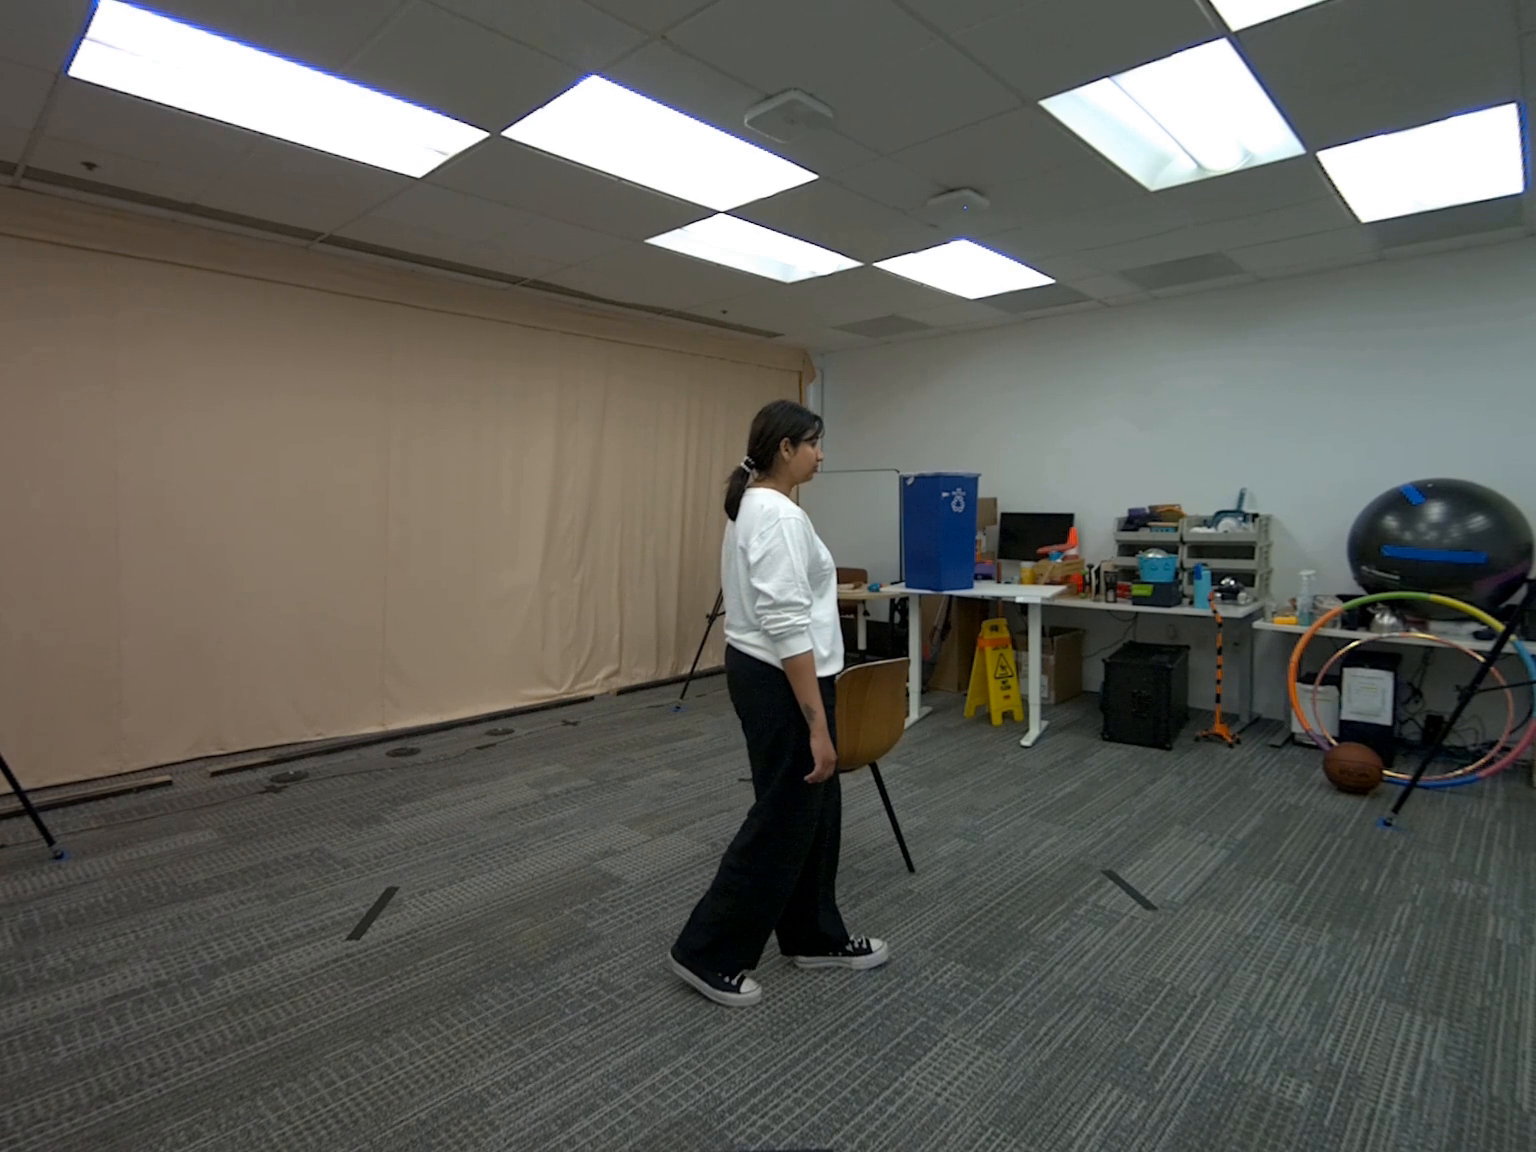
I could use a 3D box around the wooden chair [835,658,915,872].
[{"bbox_3d":[0.240,0.696,3.206,0.463,0.874,0.541,-3,9,-41],"label":"wooden chair"}]
